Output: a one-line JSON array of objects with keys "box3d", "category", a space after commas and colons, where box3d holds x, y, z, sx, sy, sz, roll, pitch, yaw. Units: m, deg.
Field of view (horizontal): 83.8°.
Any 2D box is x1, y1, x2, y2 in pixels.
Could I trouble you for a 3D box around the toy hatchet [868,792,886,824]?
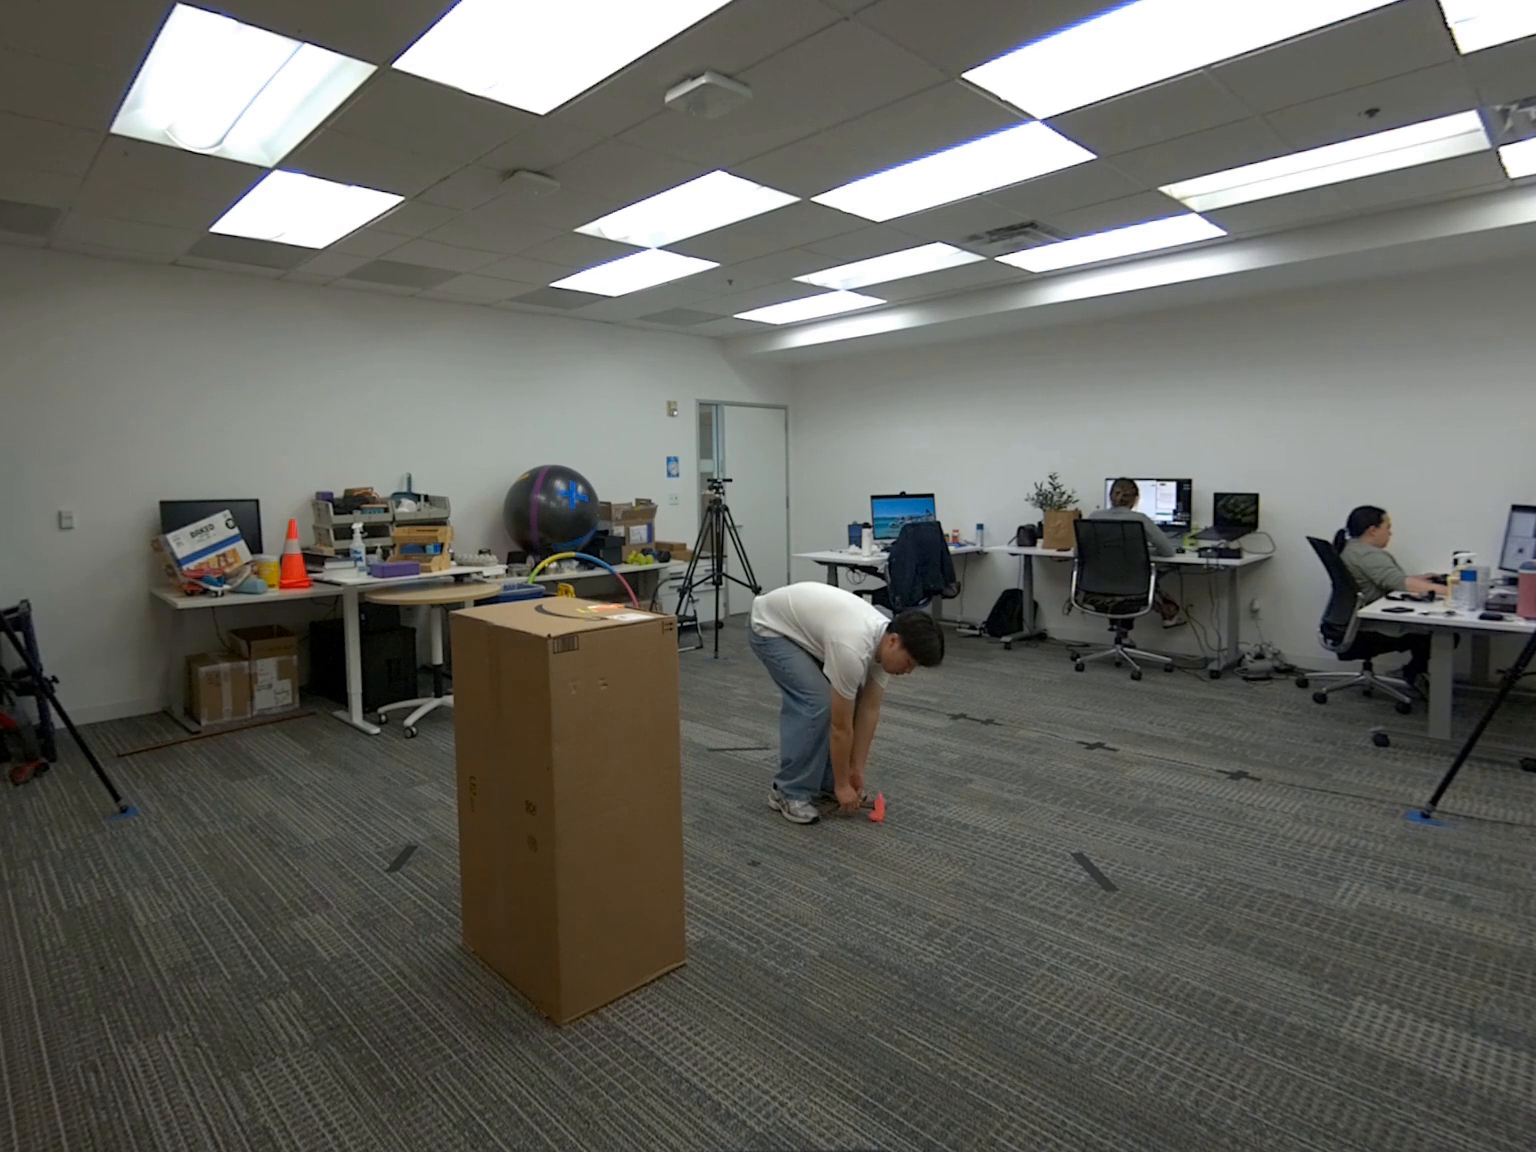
[{"box3d": [0.355, 0.963, 3.488, 0.267, 0.029, 0.136, -12, 46, -13], "category": "toy hatchet"}]
